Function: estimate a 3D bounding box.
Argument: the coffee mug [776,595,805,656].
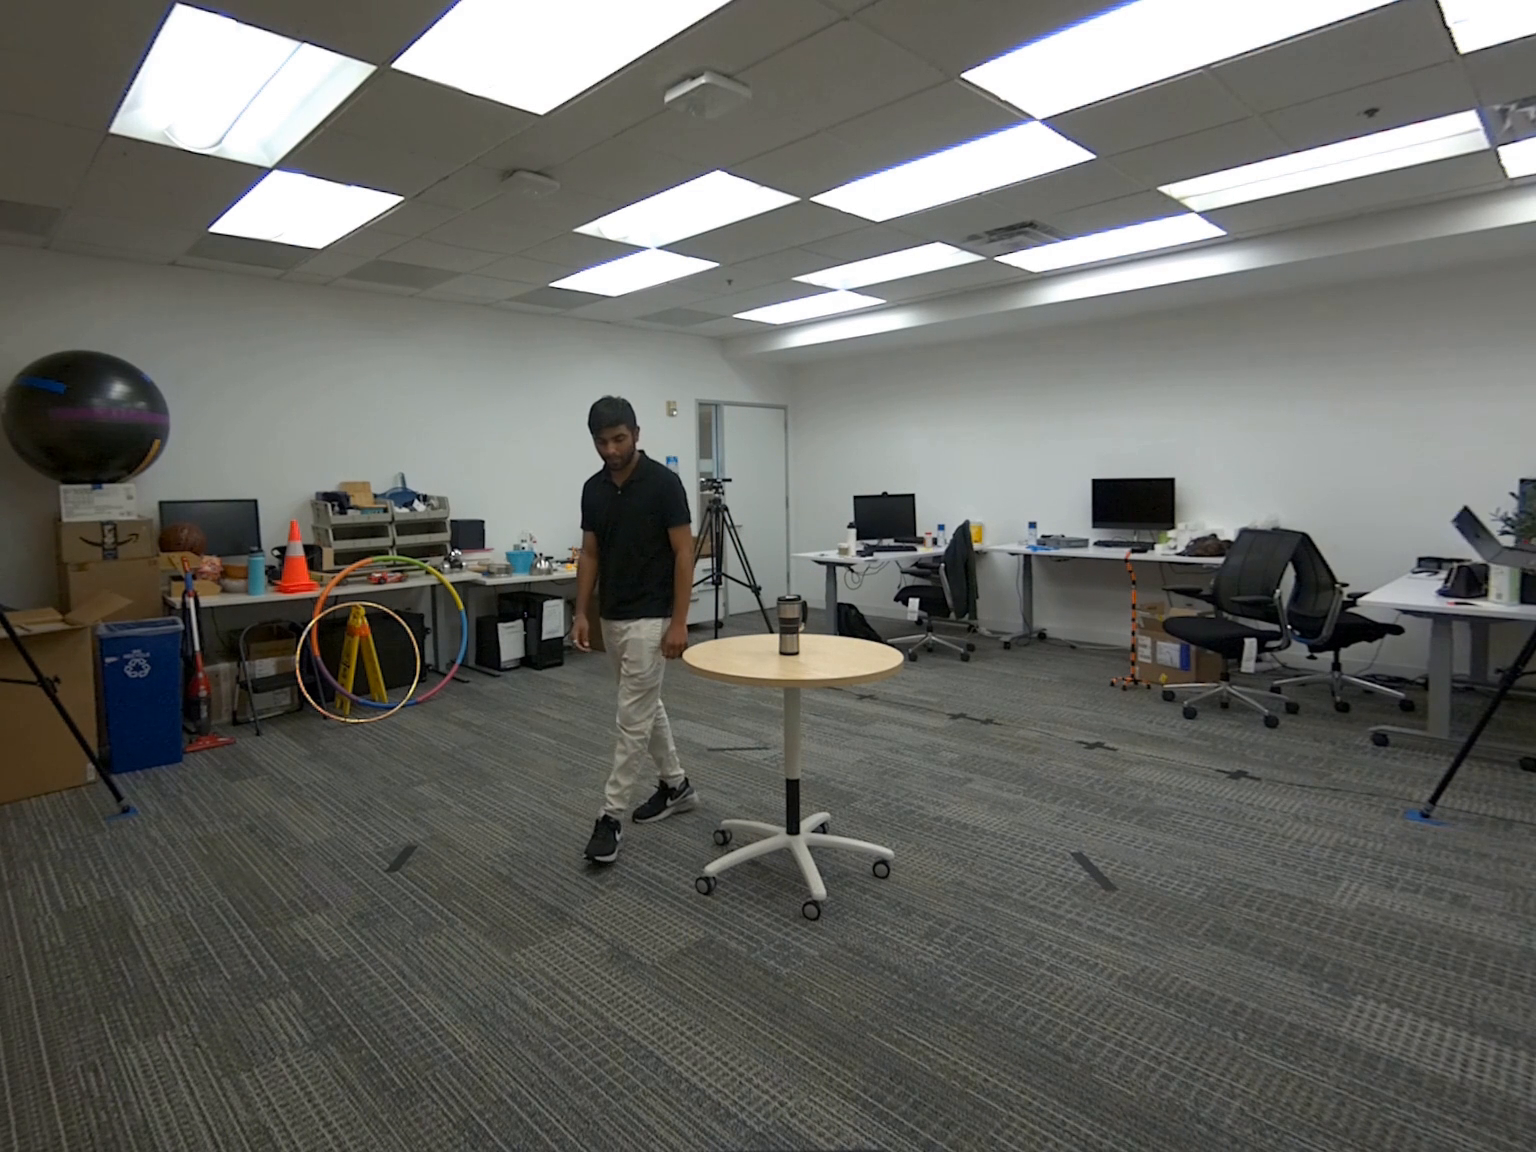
[{"bbox_3d":[0.099,0.174,2.987,0.120,0.202,0.090,-7,3,-24],"label":"coffee mug"}]
